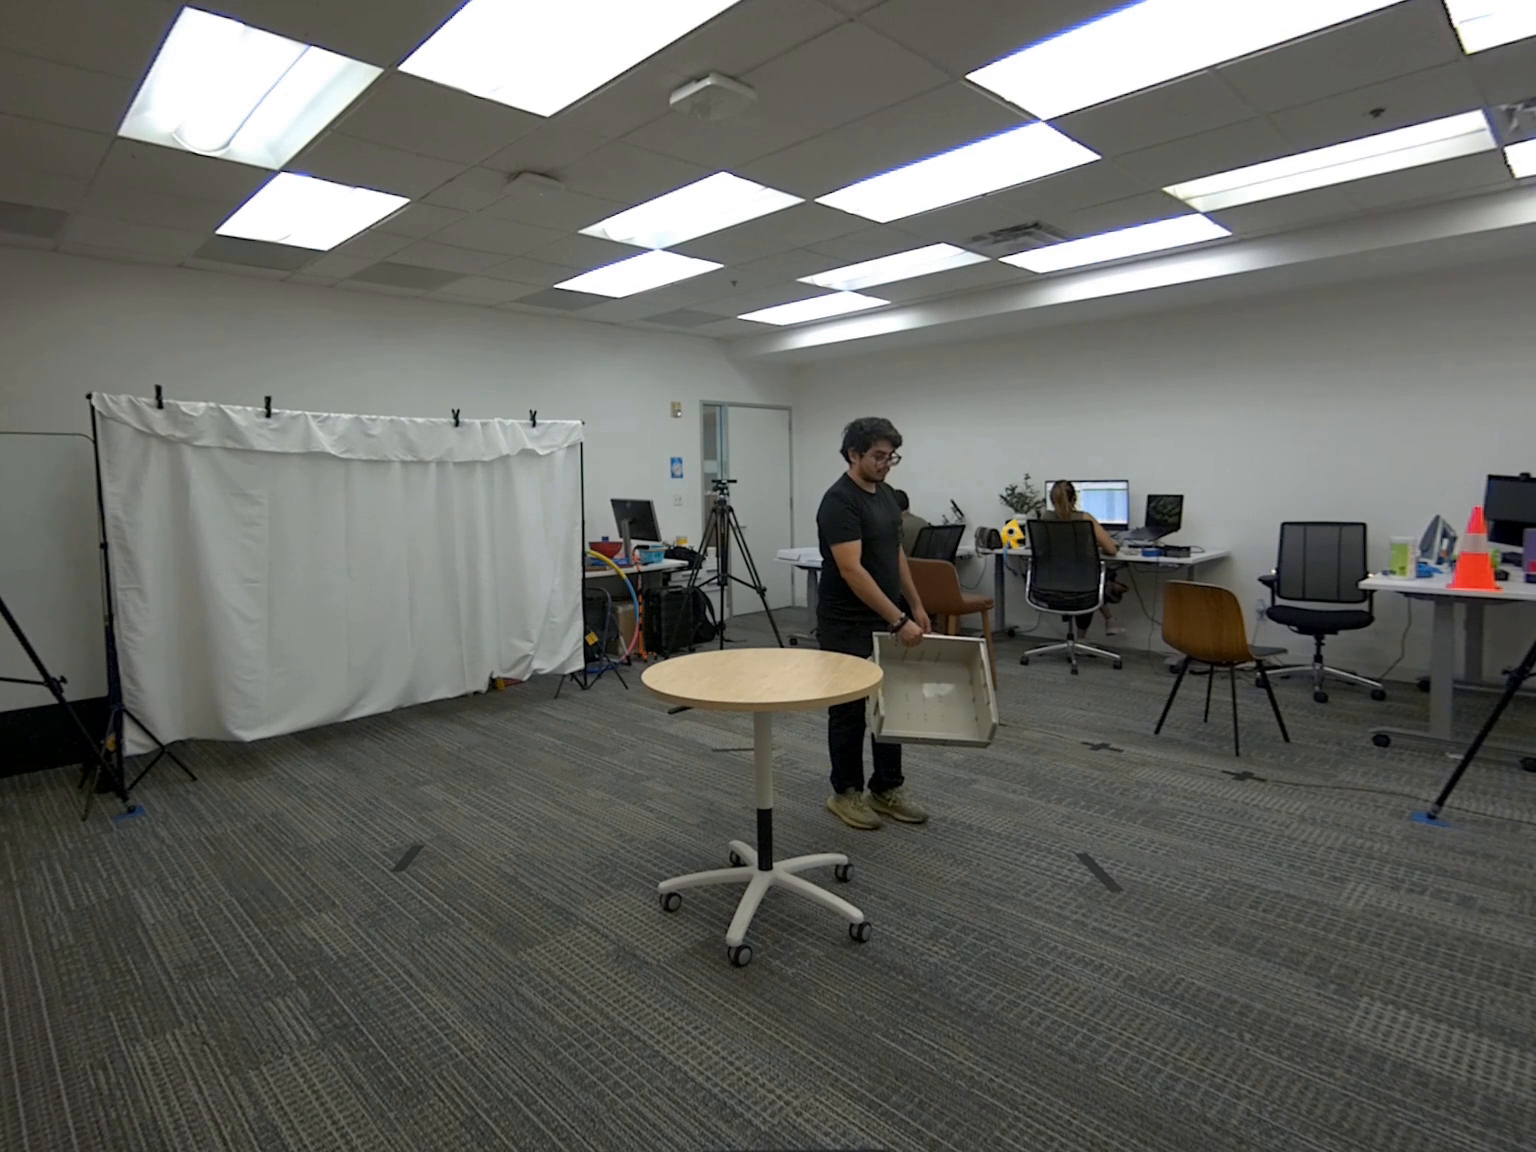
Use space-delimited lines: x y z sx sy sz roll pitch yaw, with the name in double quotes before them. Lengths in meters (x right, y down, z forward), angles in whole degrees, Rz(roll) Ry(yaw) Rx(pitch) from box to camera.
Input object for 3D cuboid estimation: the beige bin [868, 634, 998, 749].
"beige bin" 0.601 0.435 3.166 0.423 0.386 0.184 3 -38 1
